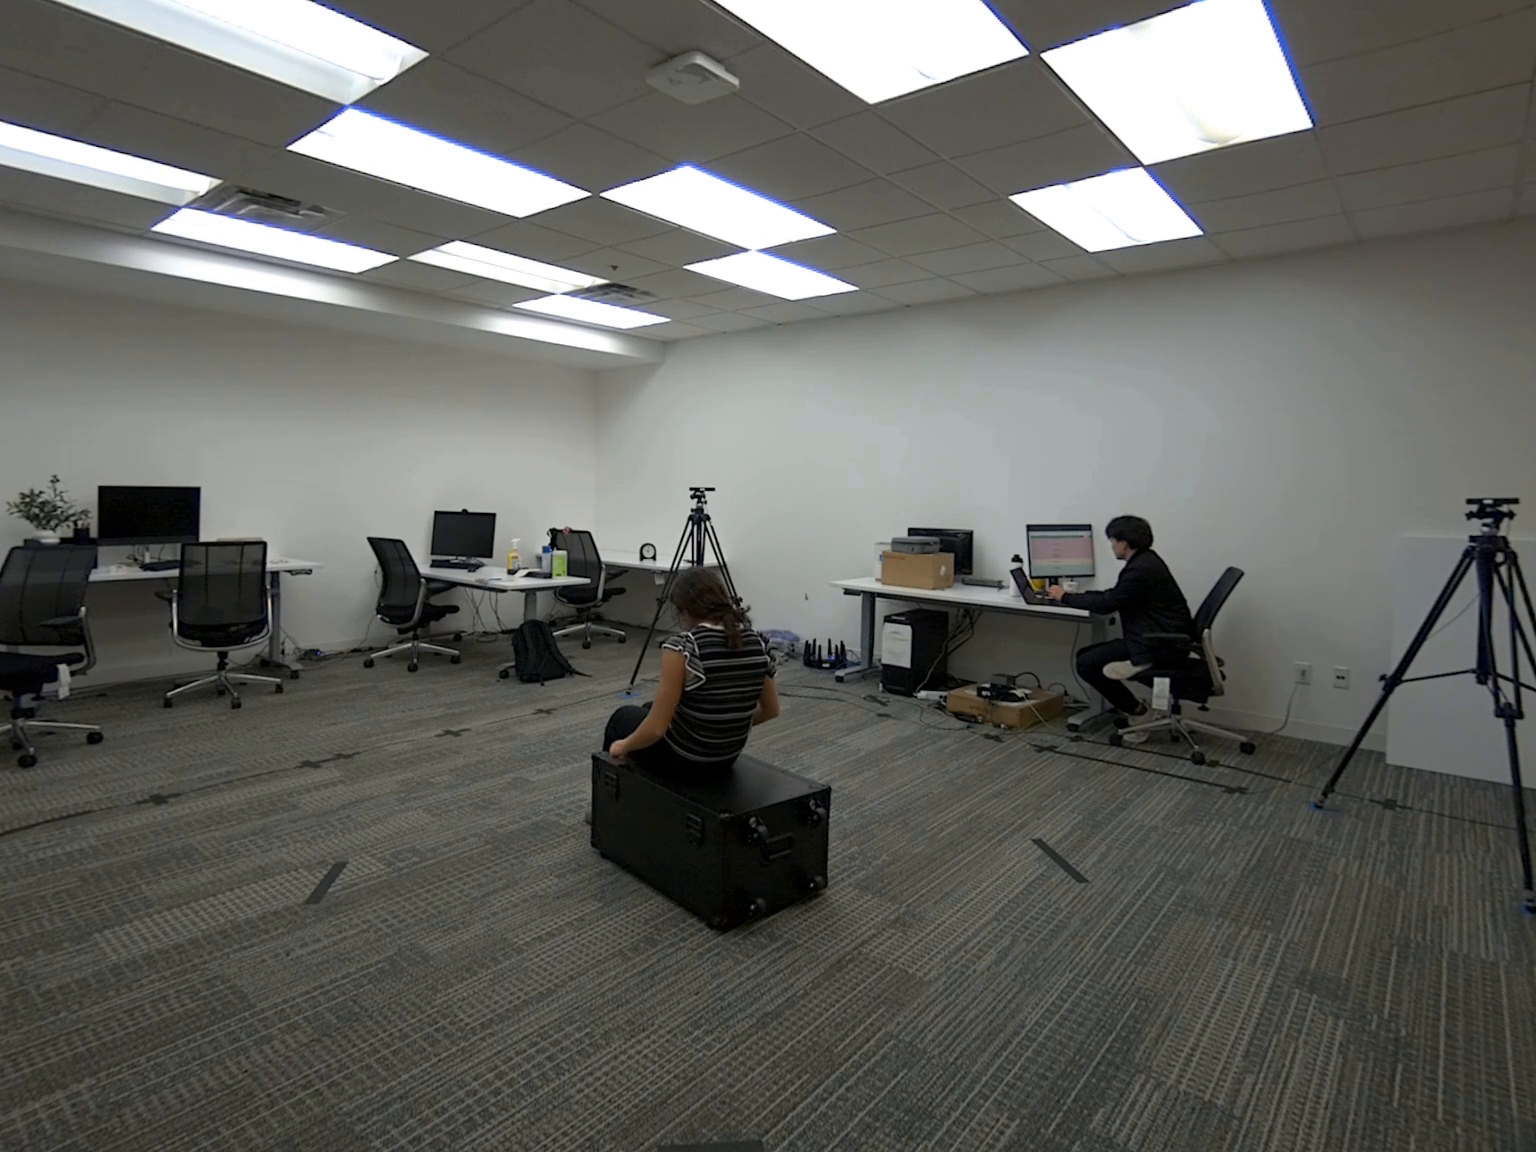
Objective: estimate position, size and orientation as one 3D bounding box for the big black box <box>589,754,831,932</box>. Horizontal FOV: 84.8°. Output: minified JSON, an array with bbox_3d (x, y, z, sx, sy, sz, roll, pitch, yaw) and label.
[{"bbox_3d":[-0.217,0.885,3.041,0.505,0.395,0.891,-3,5,-41],"label":"big black box"}]
